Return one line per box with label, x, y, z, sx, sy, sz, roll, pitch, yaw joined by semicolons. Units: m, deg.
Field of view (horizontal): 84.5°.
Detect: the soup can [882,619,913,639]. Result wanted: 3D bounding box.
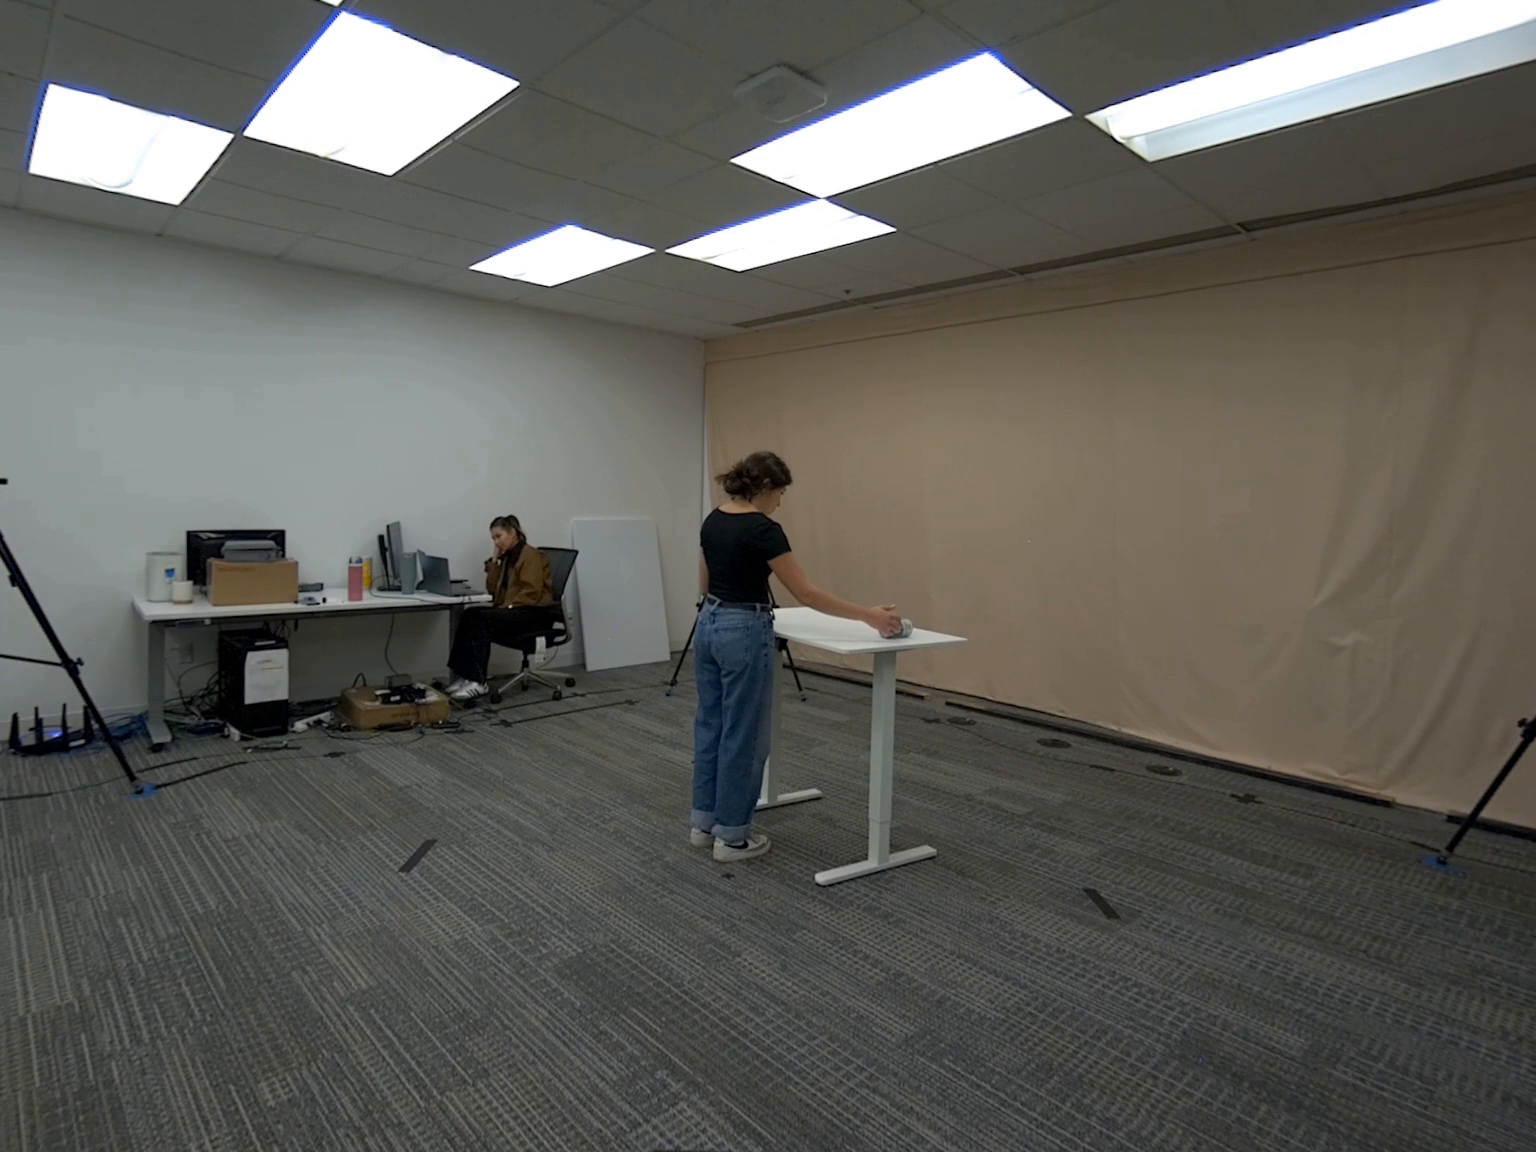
soup can;0.477;0.200;3.194;0.119;0.067;0.068;0;4;-27
